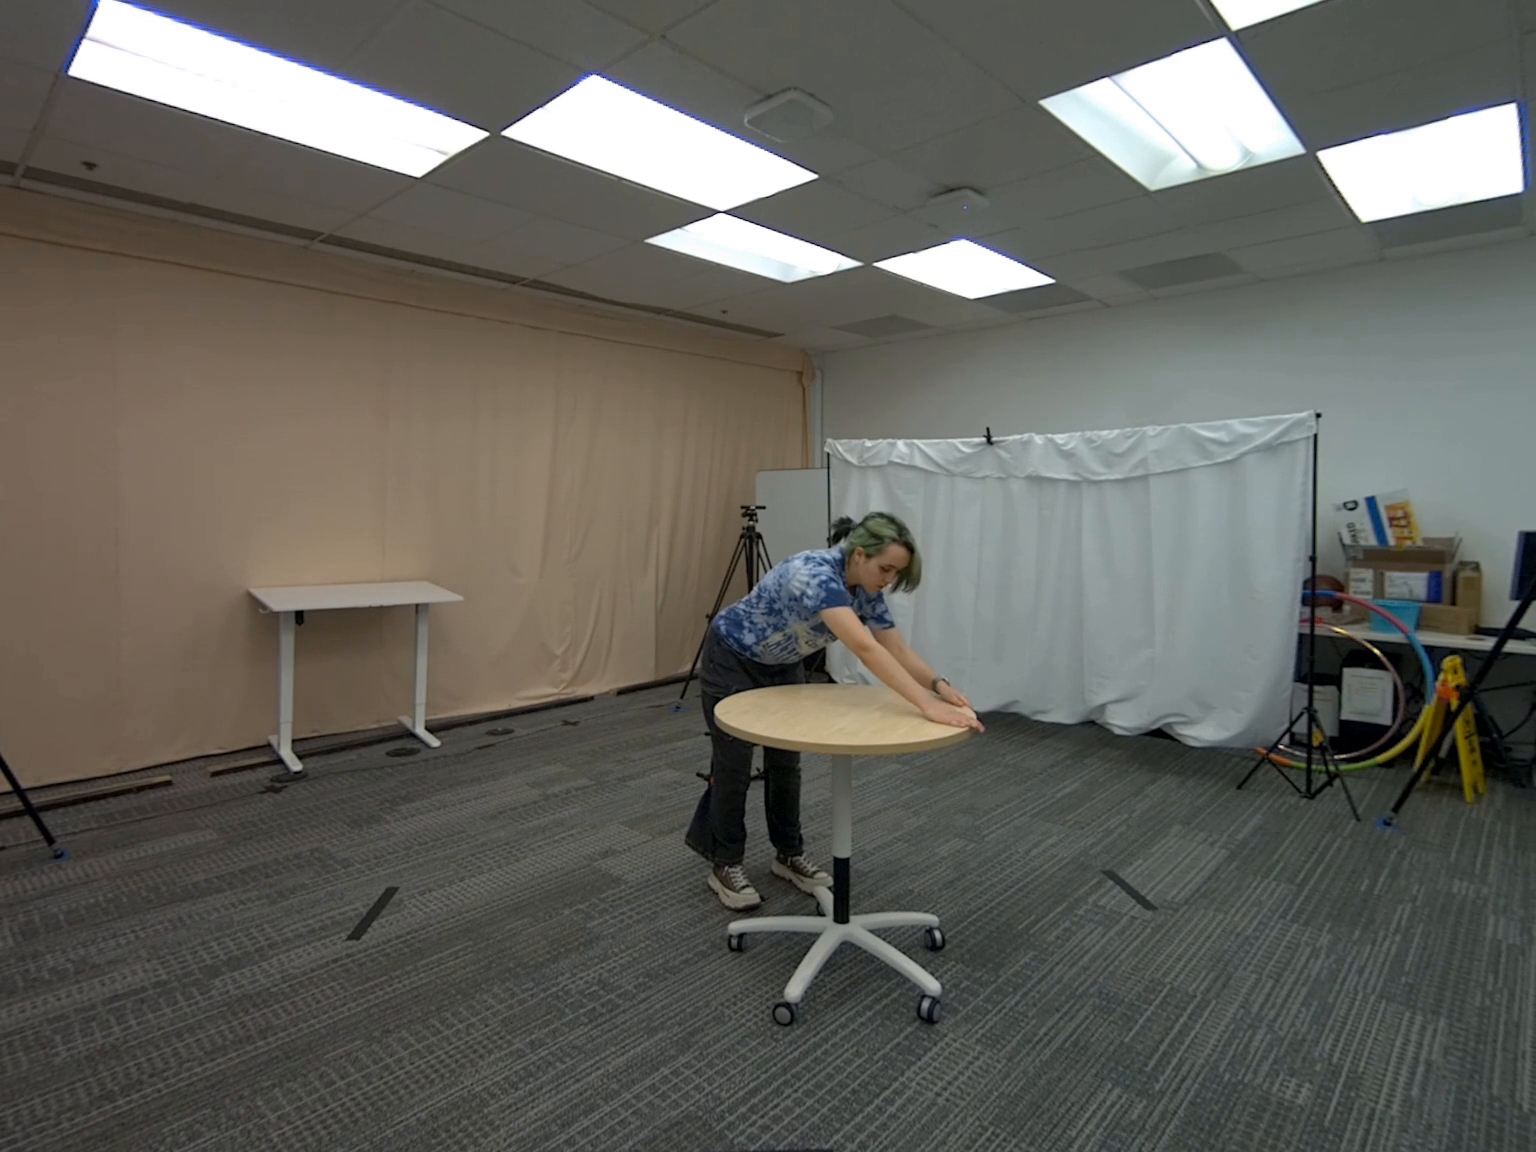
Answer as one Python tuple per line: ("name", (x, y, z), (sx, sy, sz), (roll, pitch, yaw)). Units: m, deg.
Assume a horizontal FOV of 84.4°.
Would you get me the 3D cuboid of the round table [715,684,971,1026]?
("round table", (0.232, 0.795, 2.525), (0.763, 0.792, 0.766), (0, 4, -2))
